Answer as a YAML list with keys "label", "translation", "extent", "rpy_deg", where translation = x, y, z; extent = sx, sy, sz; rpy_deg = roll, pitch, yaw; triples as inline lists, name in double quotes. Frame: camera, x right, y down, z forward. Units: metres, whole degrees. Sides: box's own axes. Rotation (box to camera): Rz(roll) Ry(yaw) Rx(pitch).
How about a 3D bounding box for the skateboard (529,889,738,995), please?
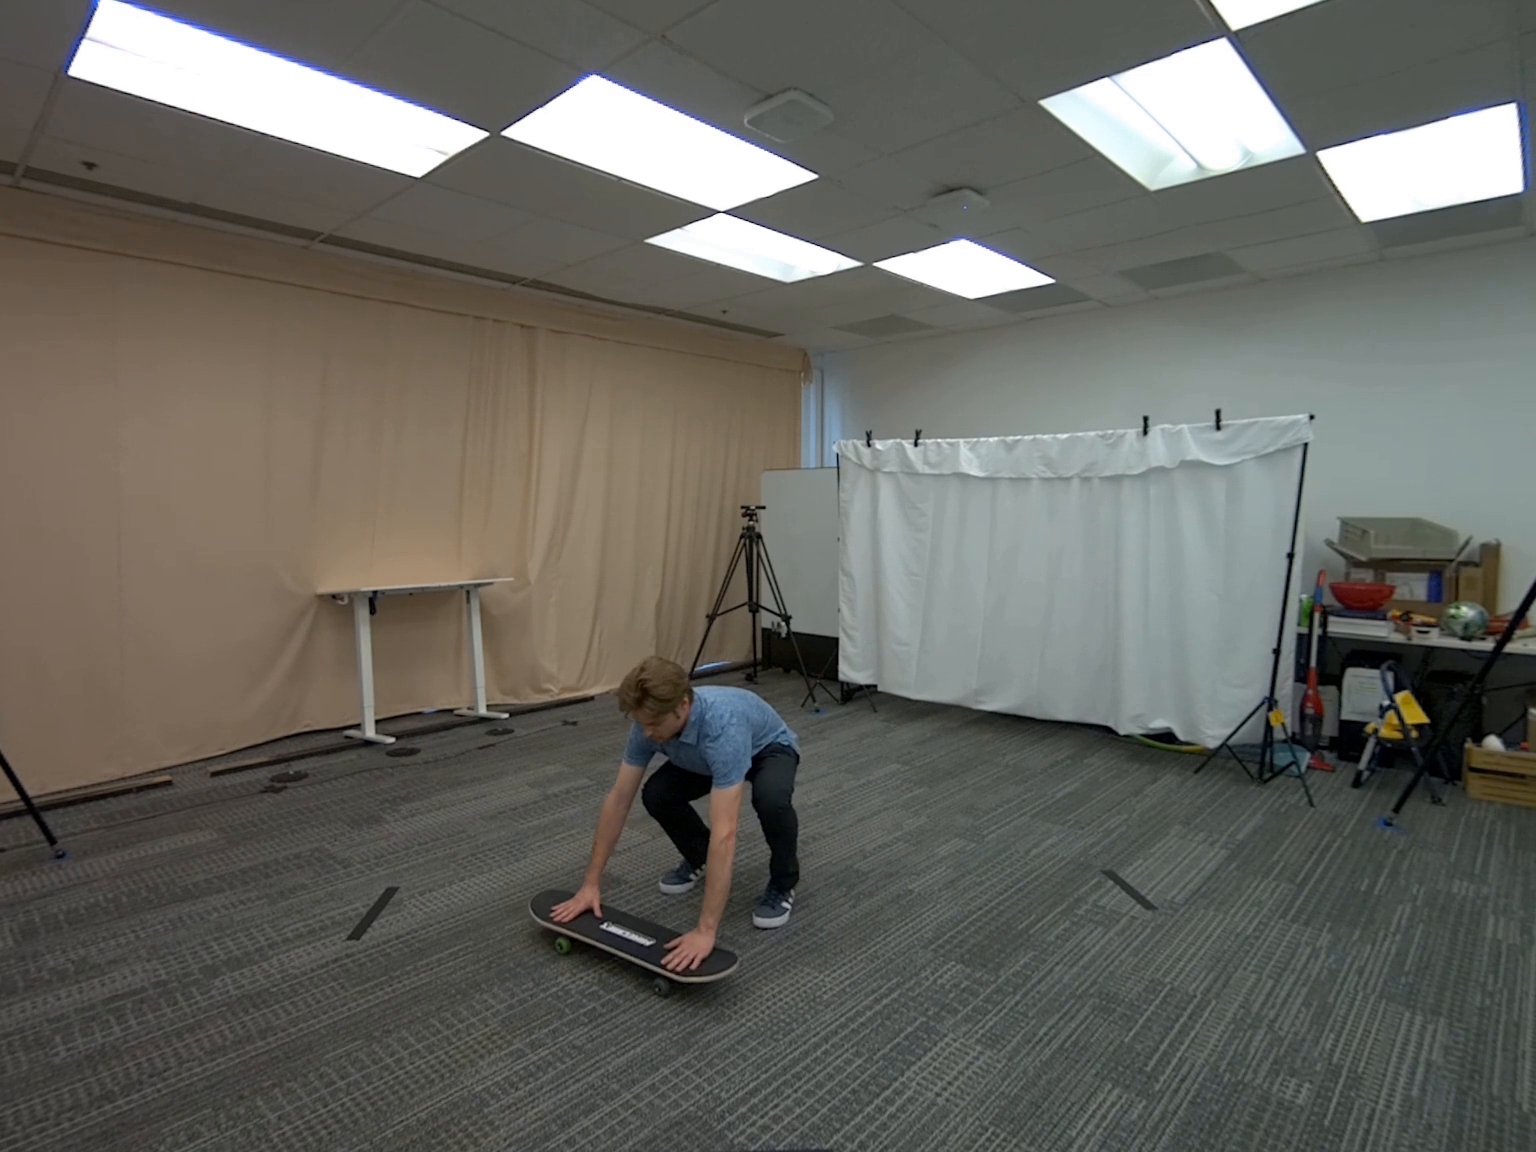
- label: "skateboard"
  translation: [-0.424, 1.127, 2.578]
  extent: [0.810, 0.110, 0.188]
  rpy_deg: [3, 8, 35]
